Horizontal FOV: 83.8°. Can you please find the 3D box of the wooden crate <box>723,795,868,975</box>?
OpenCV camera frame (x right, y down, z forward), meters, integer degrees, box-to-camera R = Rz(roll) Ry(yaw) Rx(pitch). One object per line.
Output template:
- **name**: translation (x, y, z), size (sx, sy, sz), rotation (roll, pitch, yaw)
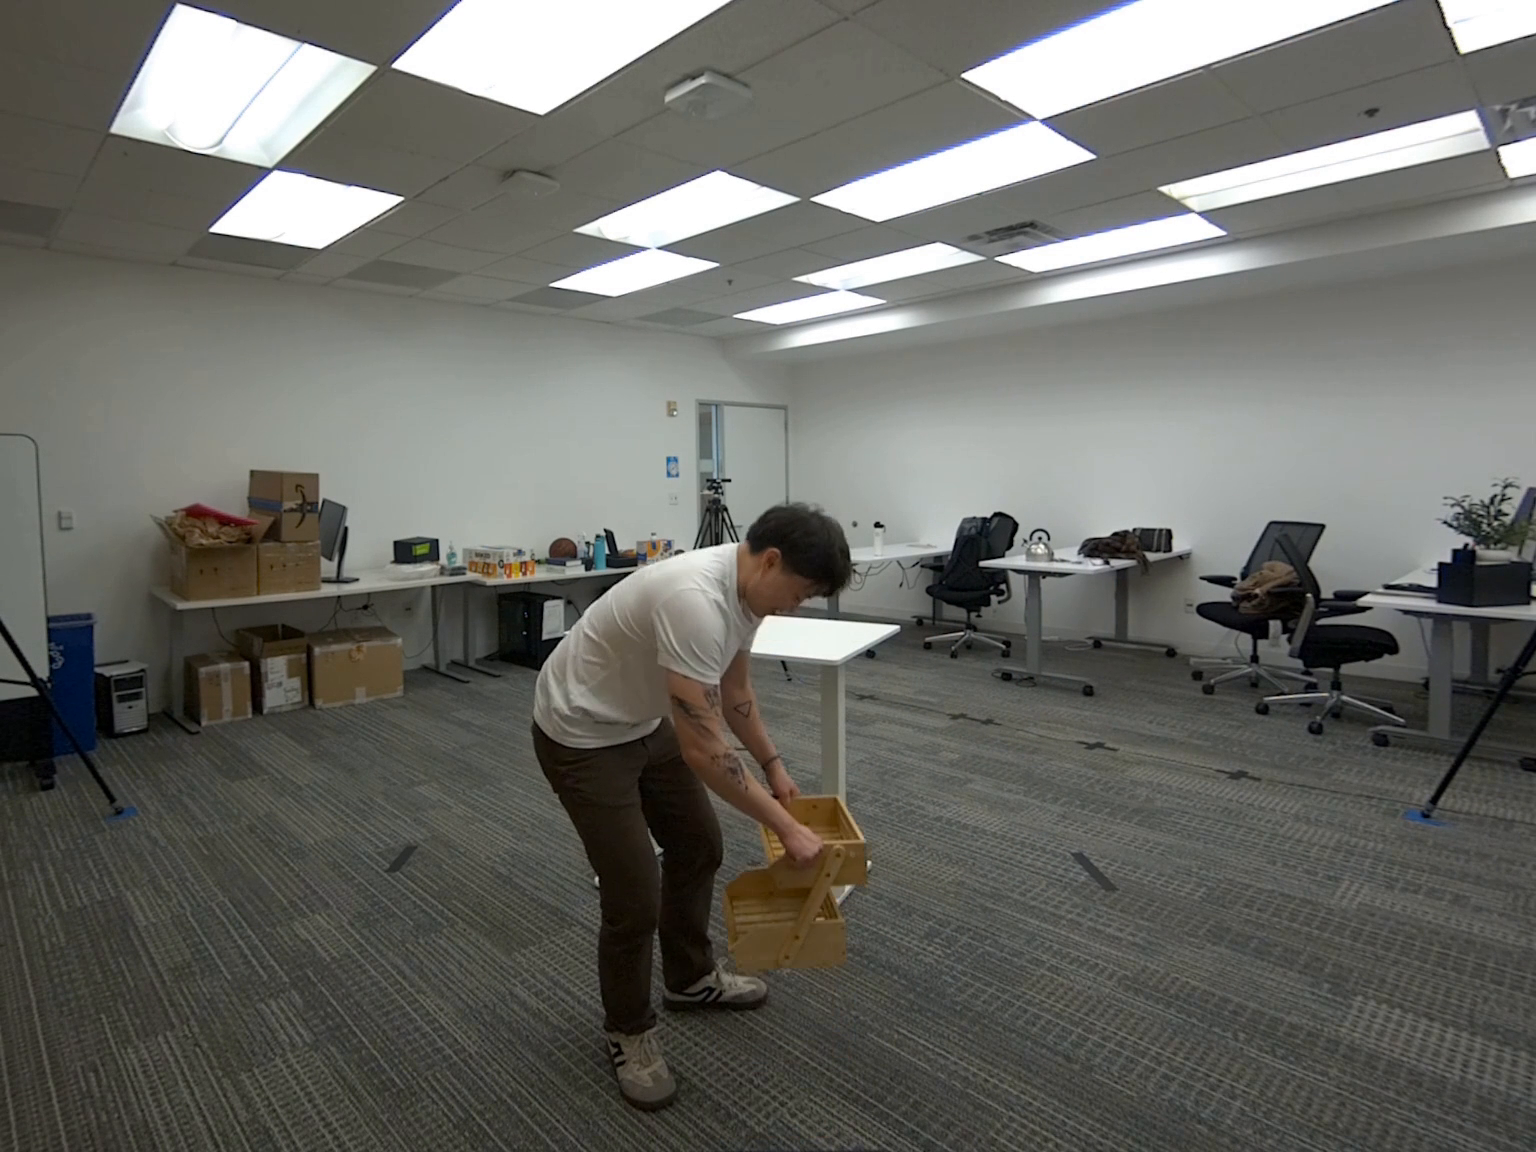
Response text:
- **wooden crate**: translation (0.044, 0.688, 1.943), size (0.301, 0.272, 0.327), rotation (-1, 4, -5)
